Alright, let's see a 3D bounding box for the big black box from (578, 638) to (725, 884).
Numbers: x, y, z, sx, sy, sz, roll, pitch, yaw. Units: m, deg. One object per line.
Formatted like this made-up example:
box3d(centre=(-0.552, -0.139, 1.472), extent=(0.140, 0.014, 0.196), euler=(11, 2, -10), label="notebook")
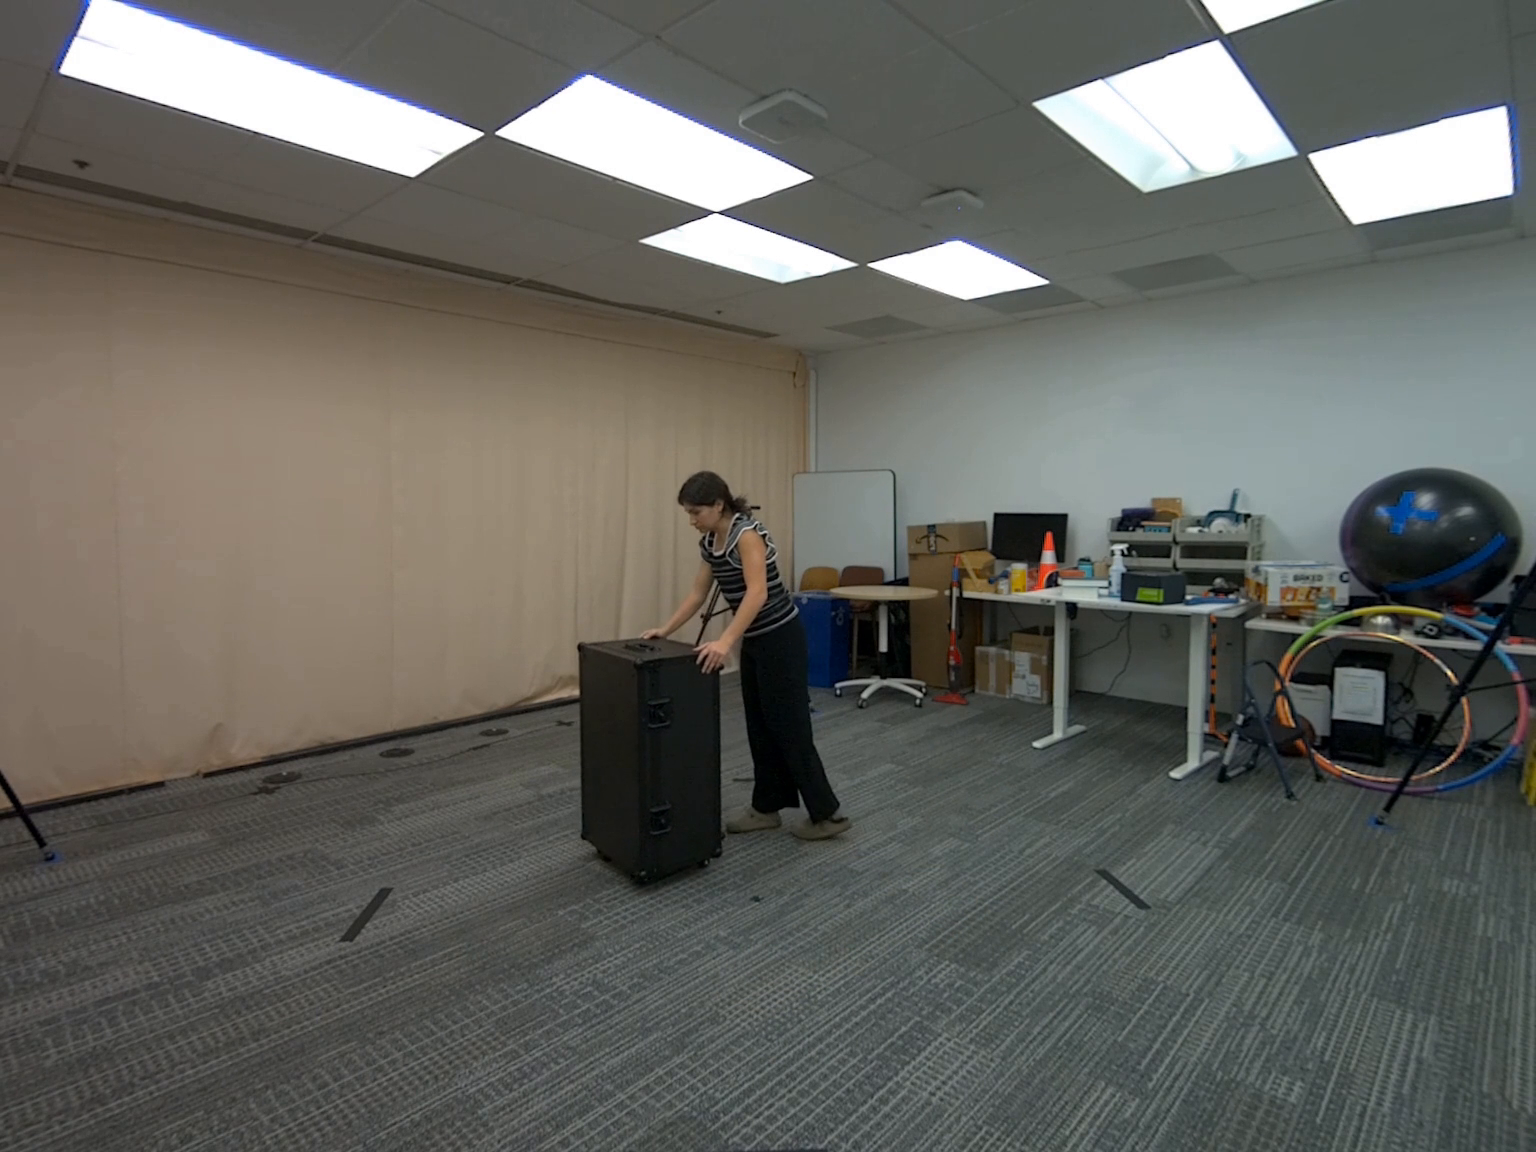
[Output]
box3d(centre=(-0.454, 0.697, 3.265), extent=(0.385, 0.860, 0.538), euler=(-2, 4, -36), label="big black box")
